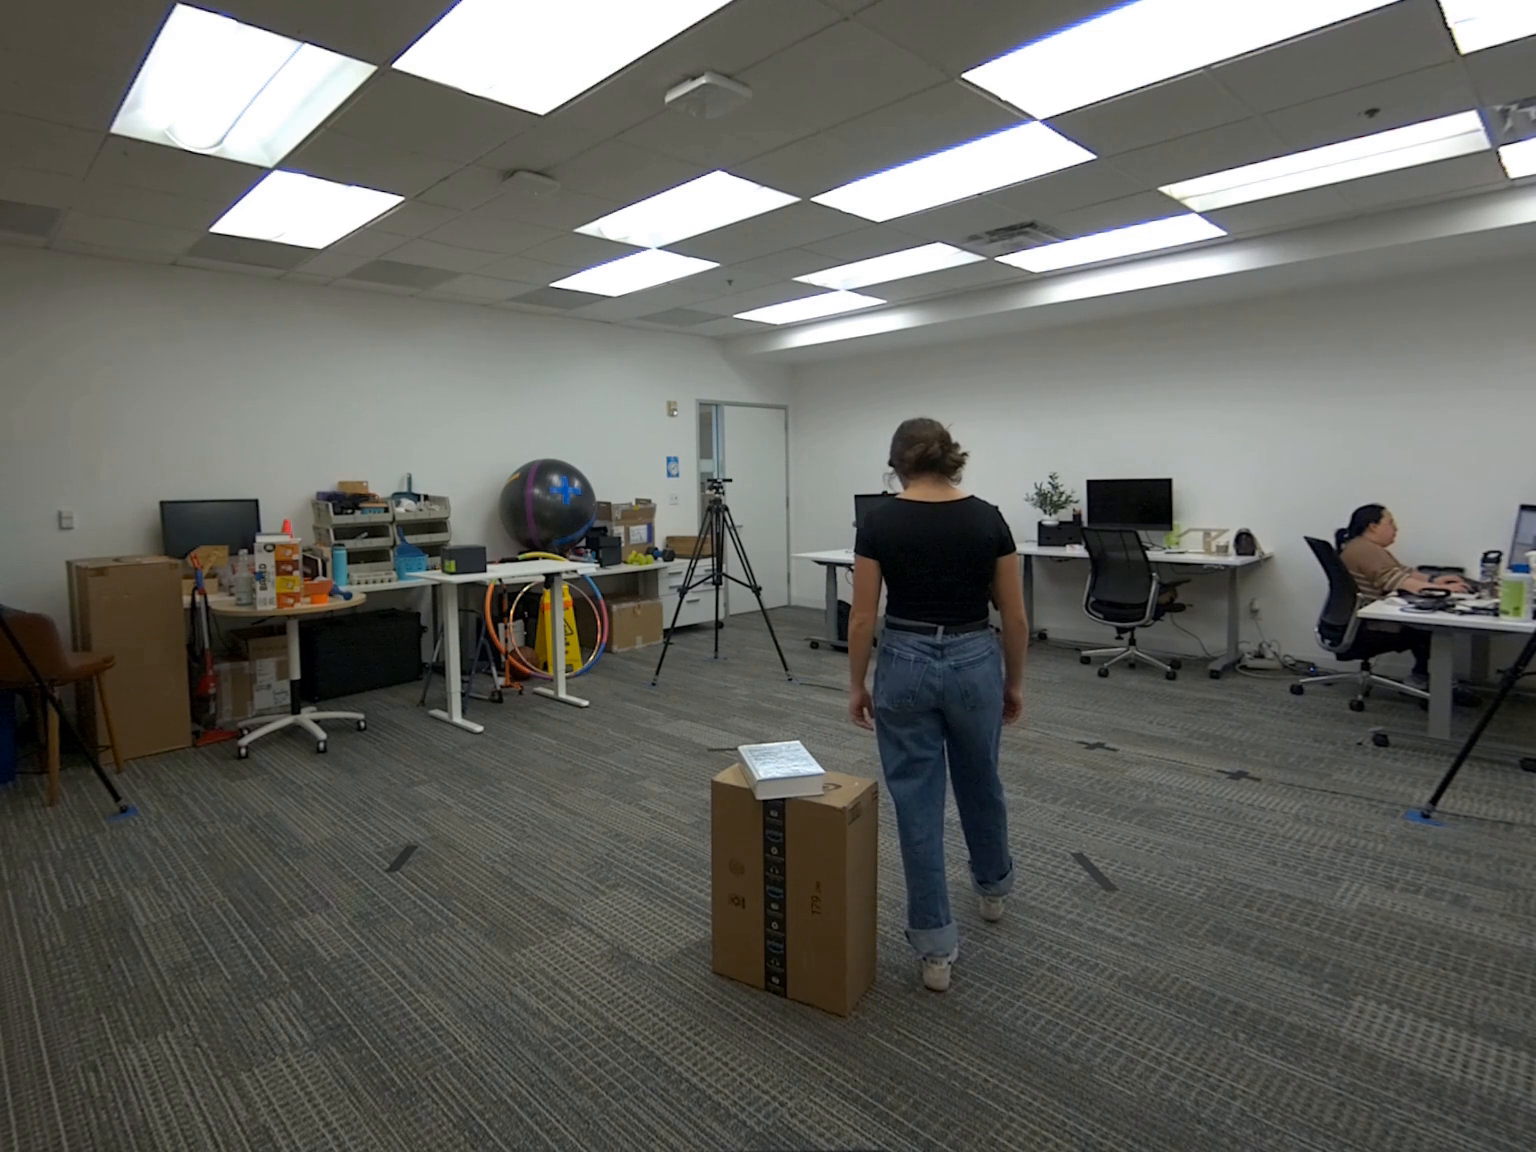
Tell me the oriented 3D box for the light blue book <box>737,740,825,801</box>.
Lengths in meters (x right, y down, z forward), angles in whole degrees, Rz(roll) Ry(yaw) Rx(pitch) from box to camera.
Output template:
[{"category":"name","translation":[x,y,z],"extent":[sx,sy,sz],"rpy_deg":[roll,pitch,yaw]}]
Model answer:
[{"category":"light blue book","translation":[0.042,0.535,2.365],"extent":[0.189,0.059,0.265],"rpy_deg":[-4,7,-12]}]
